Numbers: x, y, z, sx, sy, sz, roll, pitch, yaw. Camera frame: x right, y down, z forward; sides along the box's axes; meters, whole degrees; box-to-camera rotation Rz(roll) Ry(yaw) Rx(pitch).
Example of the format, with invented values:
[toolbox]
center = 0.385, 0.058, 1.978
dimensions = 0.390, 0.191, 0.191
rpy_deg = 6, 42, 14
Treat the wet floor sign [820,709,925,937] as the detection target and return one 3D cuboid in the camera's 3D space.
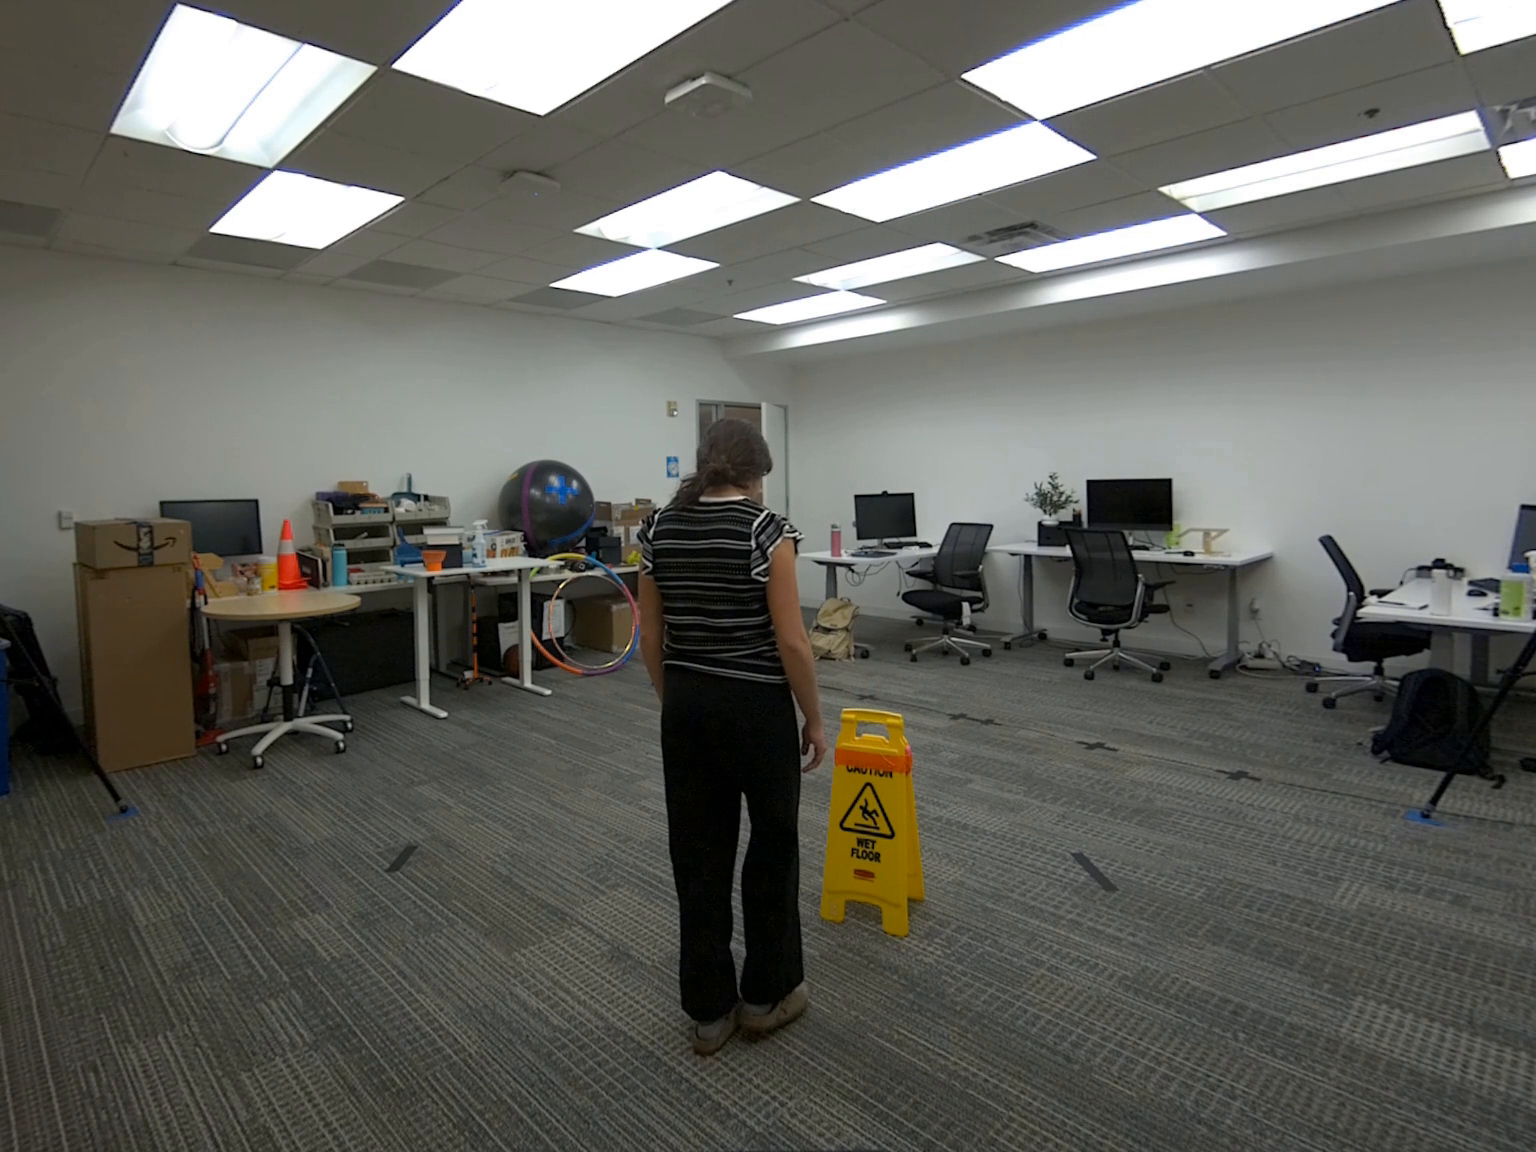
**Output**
[wet floor sign]
center = 0.340, 0.758, 2.734
dimensions = 0.288, 0.643, 0.285
rpy_deg = 0, 5, 23
